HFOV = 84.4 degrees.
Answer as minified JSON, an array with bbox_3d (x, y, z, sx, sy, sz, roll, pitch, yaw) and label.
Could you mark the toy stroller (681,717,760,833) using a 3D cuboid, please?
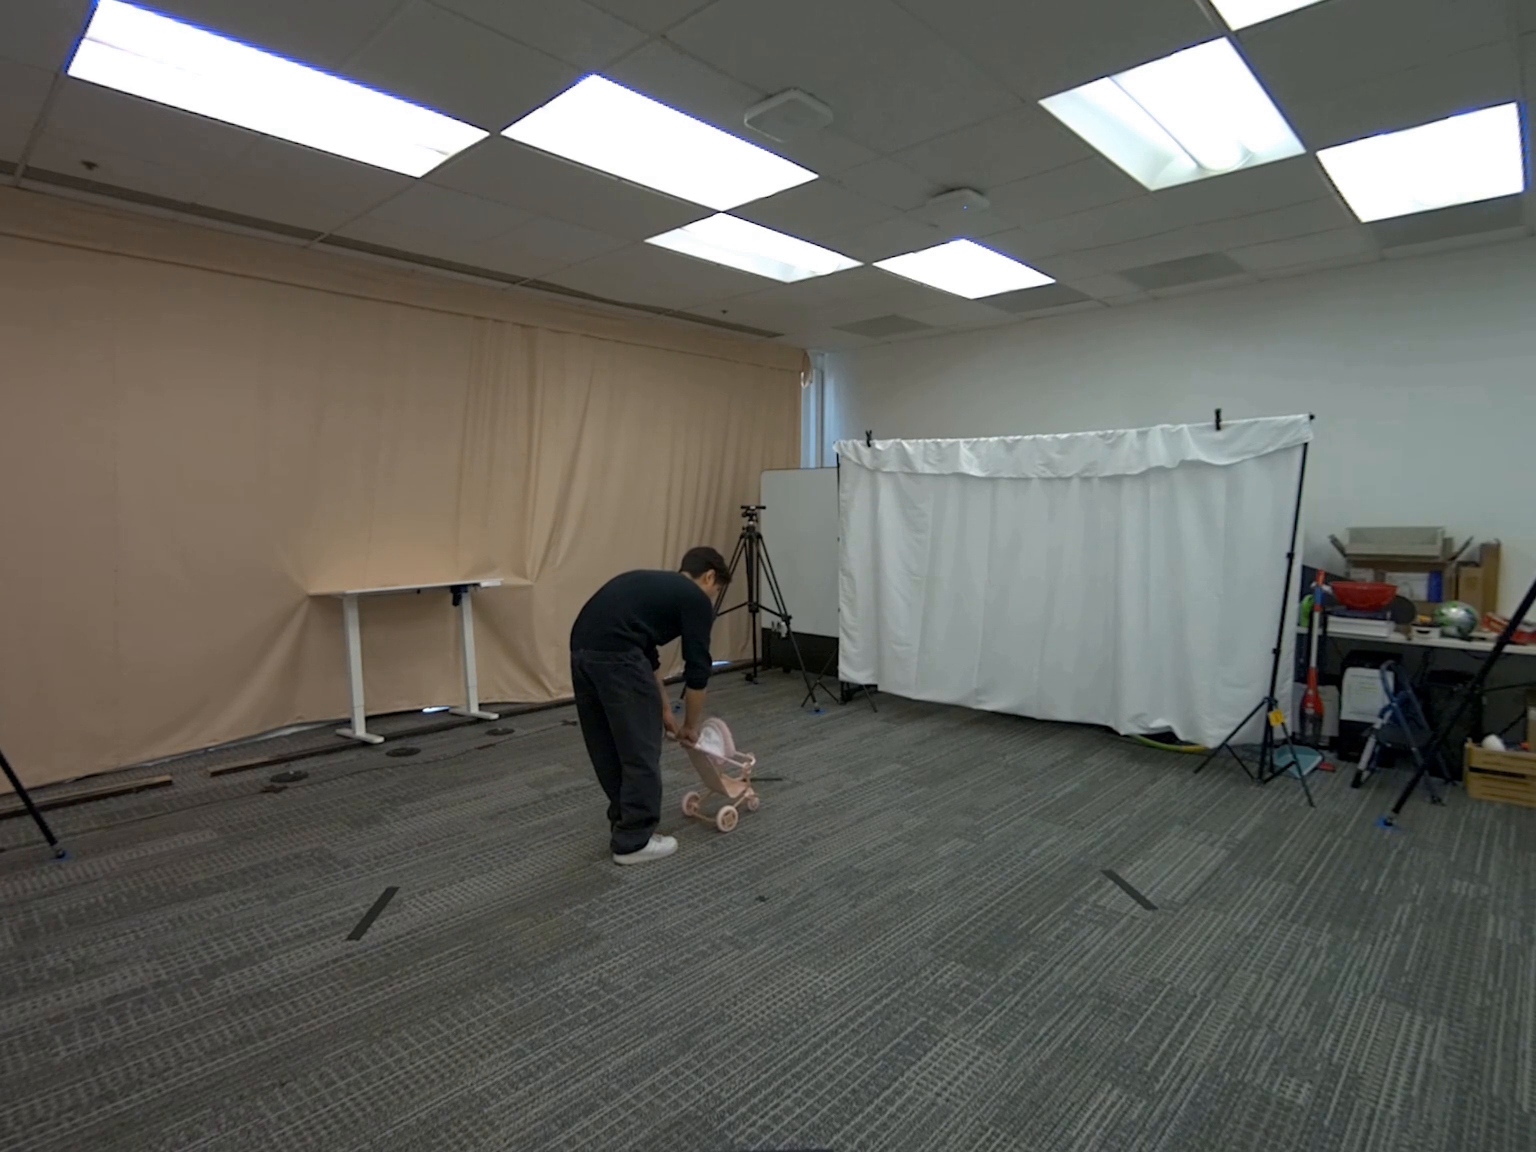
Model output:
[{"bbox_3d":[-0.214,0.863,3.728,0.334,0.529,0.290,-23,16,-34],"label":"toy stroller"}]
